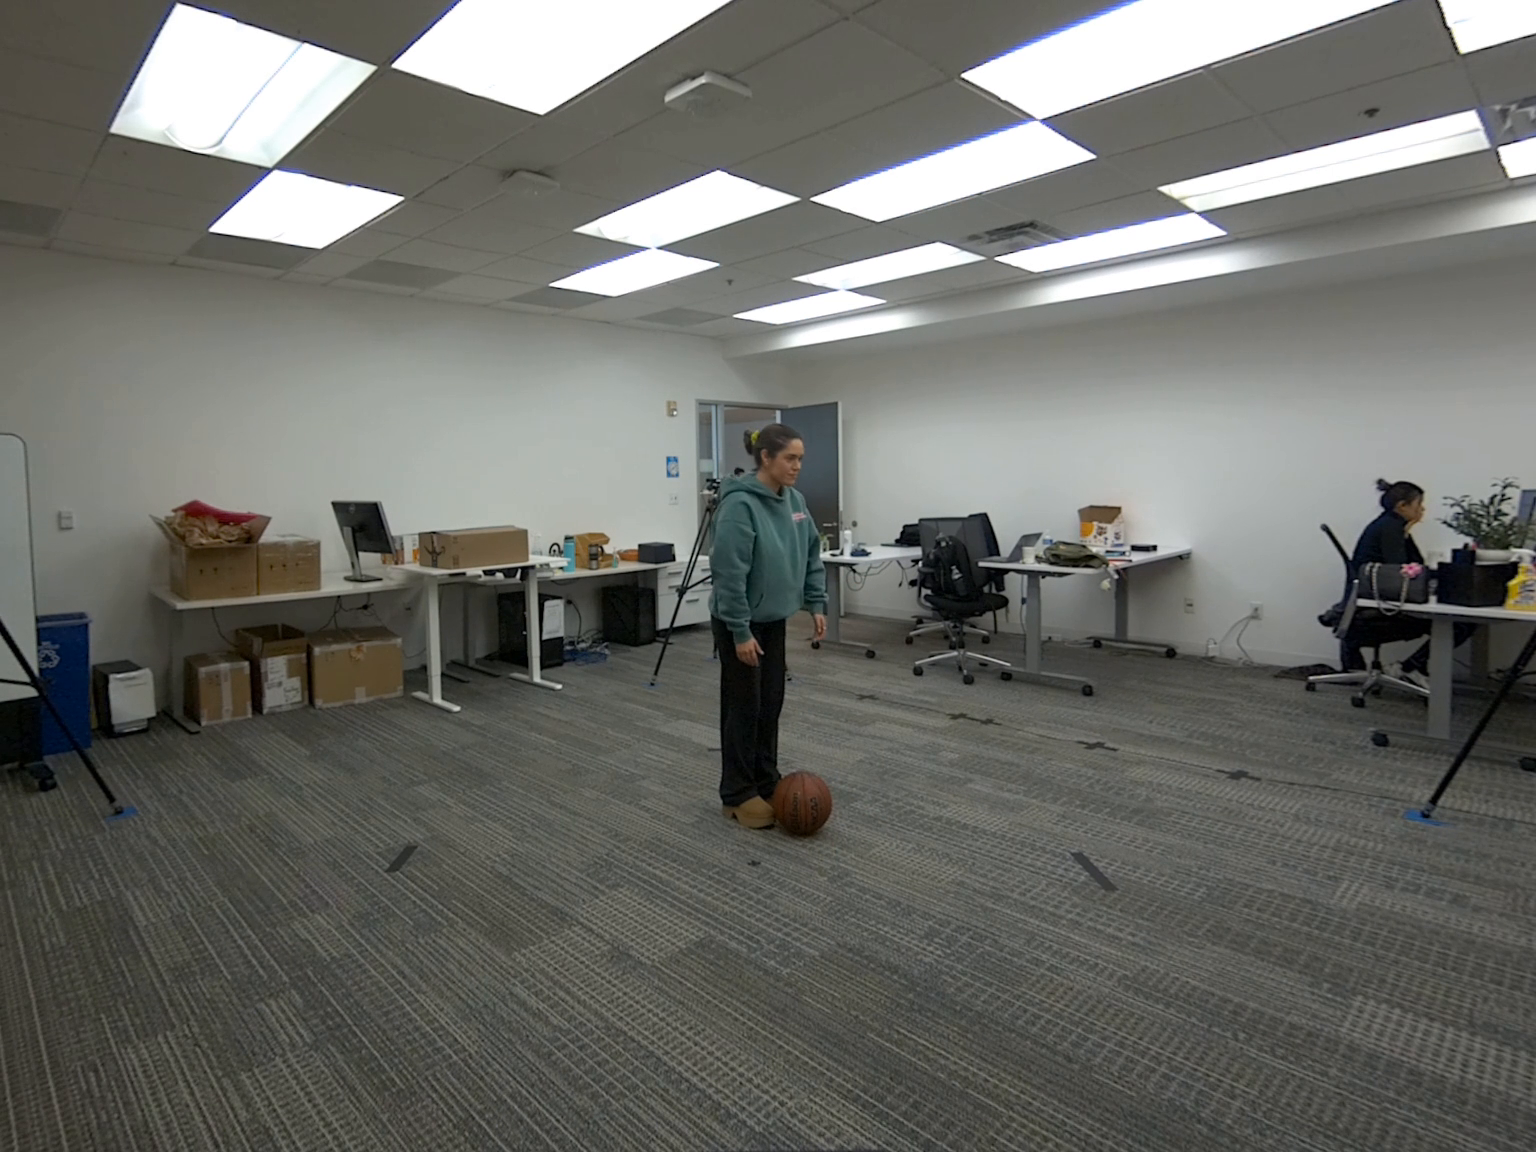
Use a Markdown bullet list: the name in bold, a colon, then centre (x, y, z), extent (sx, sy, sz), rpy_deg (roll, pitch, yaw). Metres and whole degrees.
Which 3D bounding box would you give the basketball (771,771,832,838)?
- **basketball**: centre (0.134, 0.891, 3.377), extent (0.236, 0.235, 0.237), rpy_deg (-1, 5, -2)
